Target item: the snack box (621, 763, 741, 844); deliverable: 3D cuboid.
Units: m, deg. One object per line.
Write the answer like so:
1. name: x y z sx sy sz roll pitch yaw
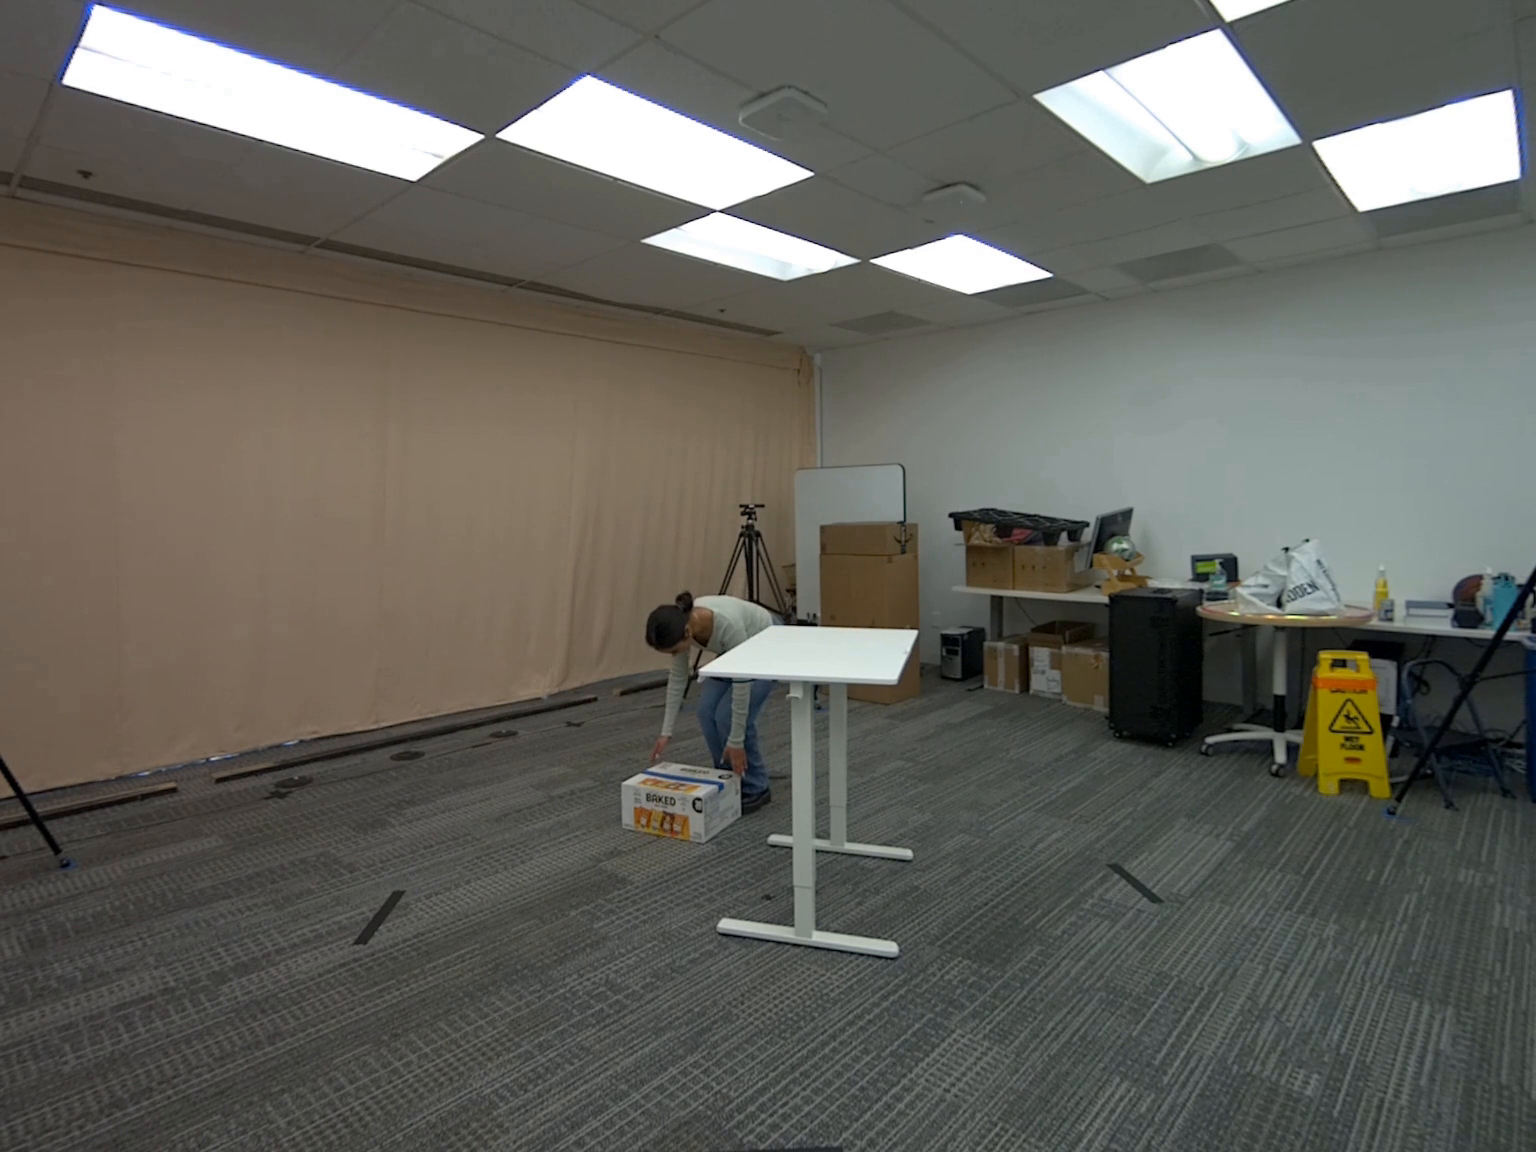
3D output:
1. snack box: -0.378 0.984 3.698 0.416 0.205 0.332 1 5 28
